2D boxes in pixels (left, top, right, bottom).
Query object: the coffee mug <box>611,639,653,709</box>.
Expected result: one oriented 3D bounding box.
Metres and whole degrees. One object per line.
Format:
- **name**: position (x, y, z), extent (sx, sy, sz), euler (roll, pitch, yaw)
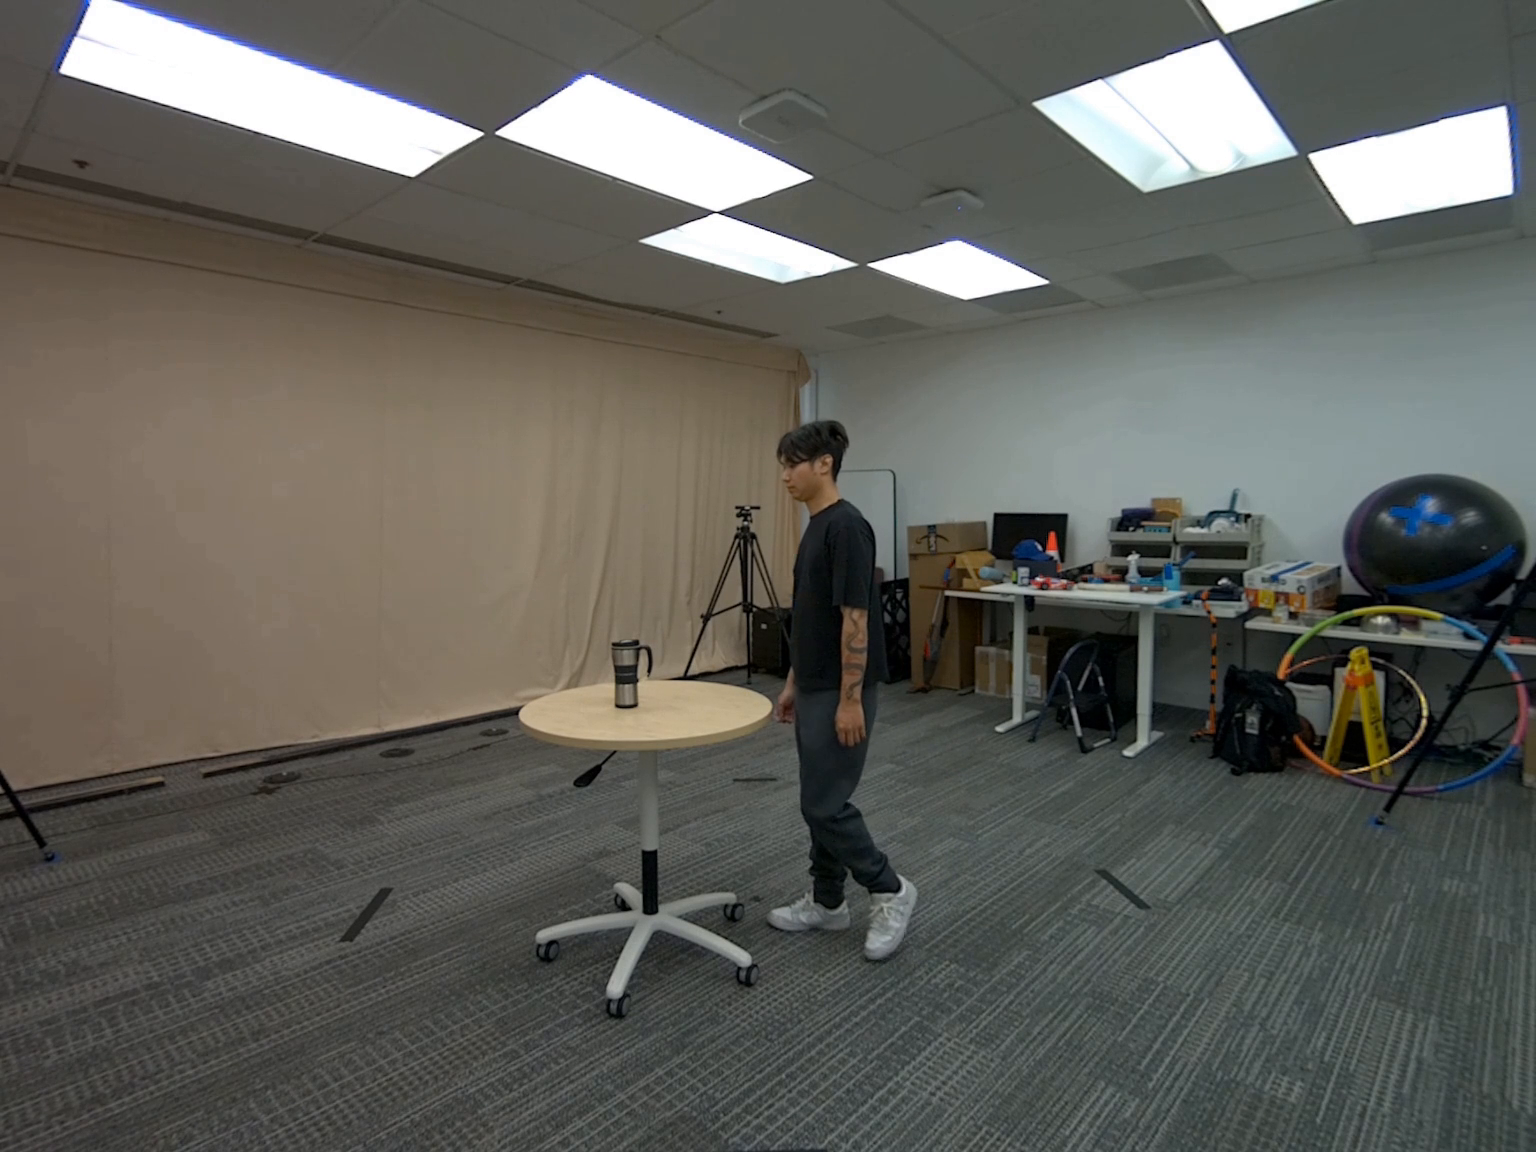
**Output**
- **coffee mug**: position (-0.415, 0.302, 2.560), extent (0.125, 0.203, 0.085), euler (-2, -1, 34)
